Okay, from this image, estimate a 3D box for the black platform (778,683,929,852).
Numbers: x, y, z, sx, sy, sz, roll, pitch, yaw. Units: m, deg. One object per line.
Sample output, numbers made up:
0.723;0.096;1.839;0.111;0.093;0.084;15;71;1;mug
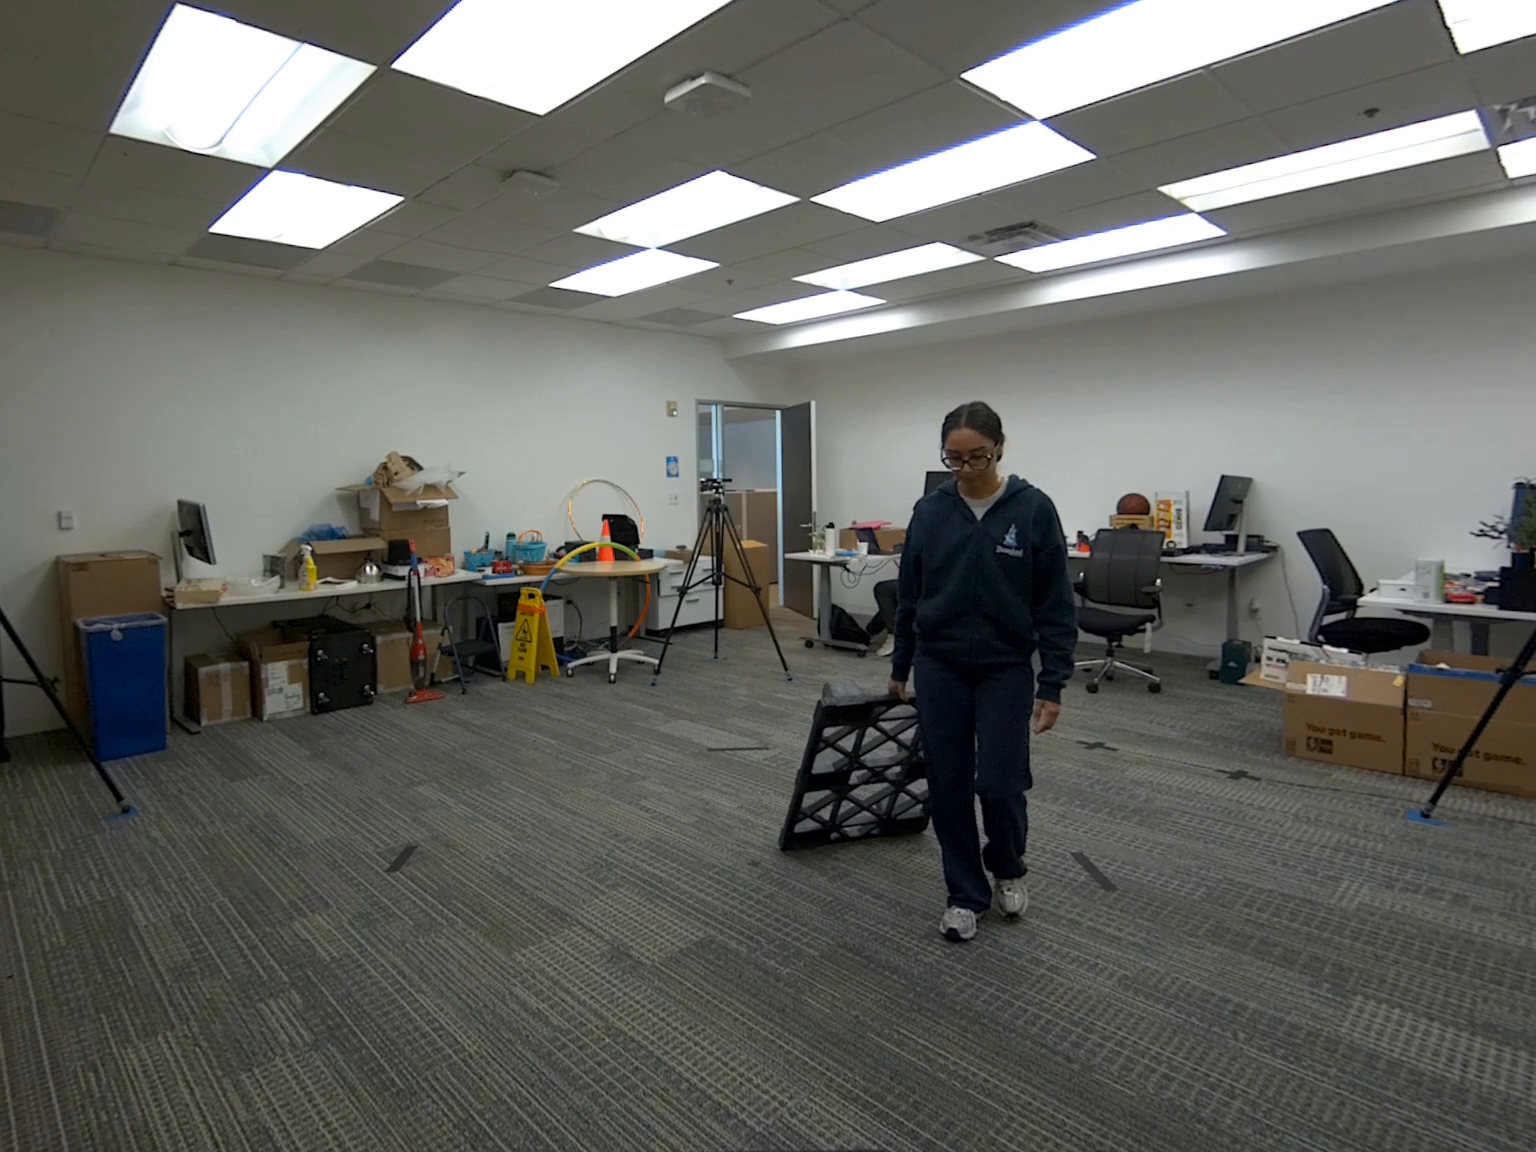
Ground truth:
0.371;0.675;3.083;0.597;0.789;0.148;-1;38;-15;black platform
